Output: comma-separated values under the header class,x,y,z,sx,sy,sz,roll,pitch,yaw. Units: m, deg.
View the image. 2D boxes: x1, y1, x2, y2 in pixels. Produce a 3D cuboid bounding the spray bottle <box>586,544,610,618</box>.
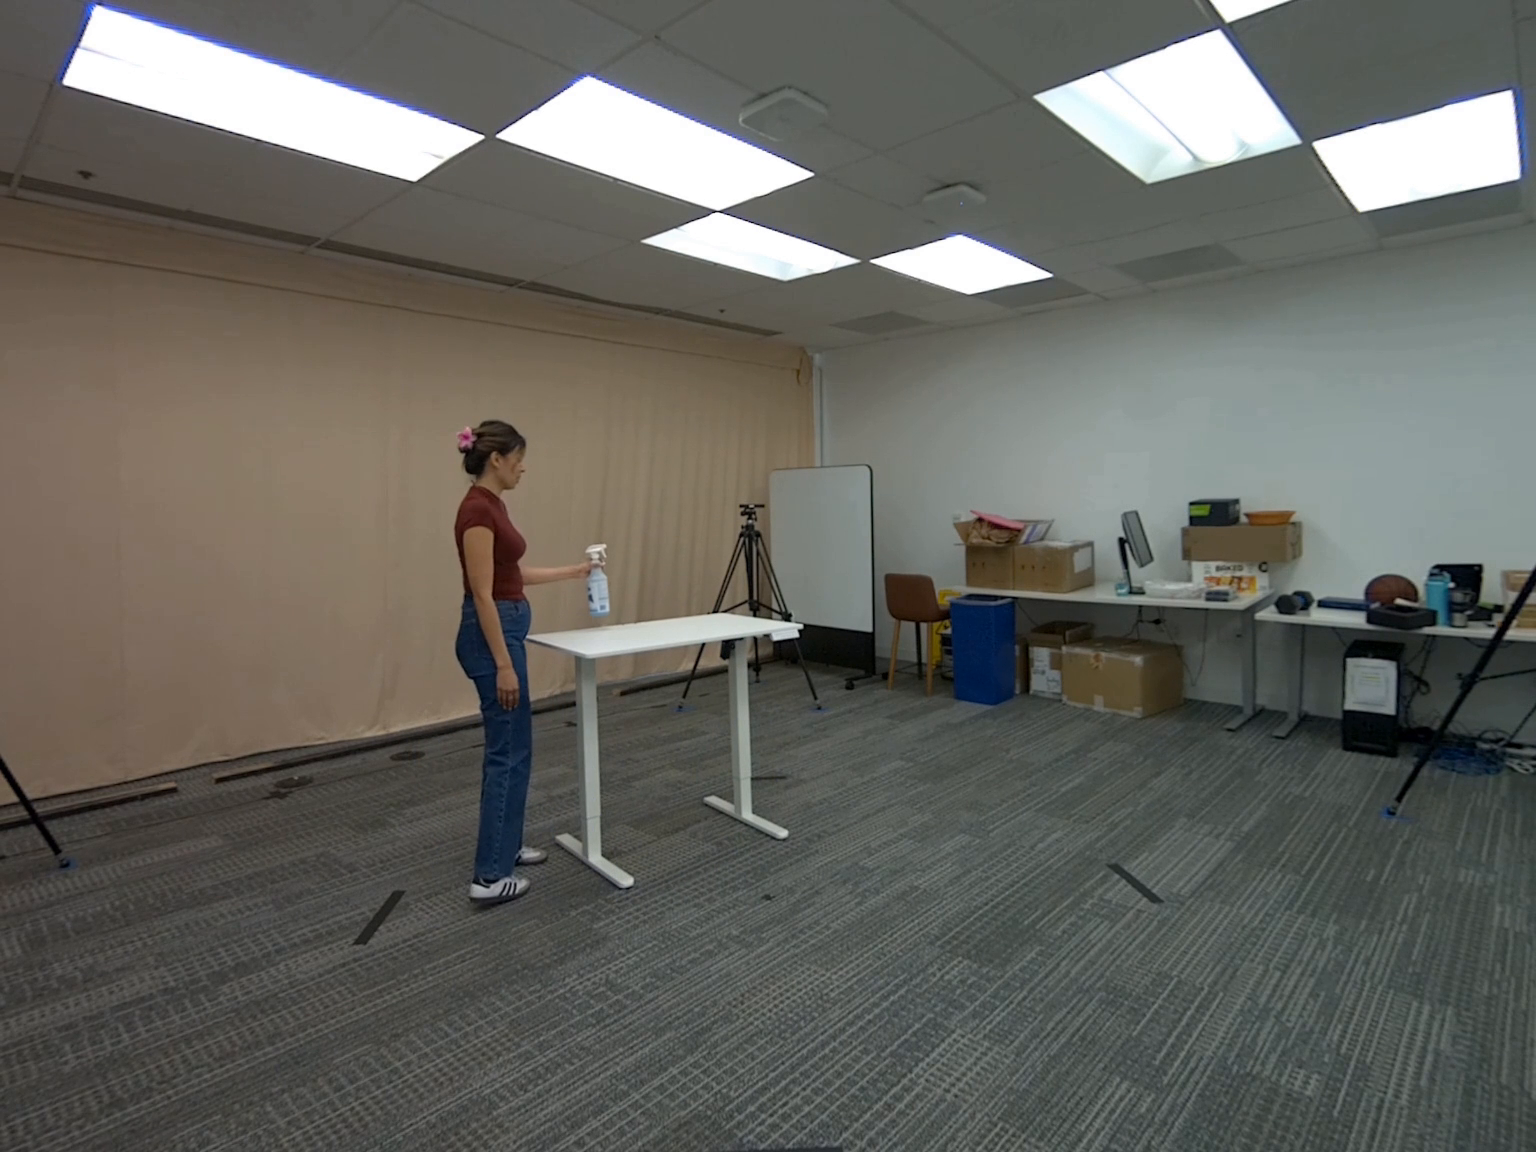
class,x,y,z,sx,sy,sz,roll,pitch,yaw
spray bottle,-0.726,0.018,3.547,0.093,0.296,0.085,2,10,33
